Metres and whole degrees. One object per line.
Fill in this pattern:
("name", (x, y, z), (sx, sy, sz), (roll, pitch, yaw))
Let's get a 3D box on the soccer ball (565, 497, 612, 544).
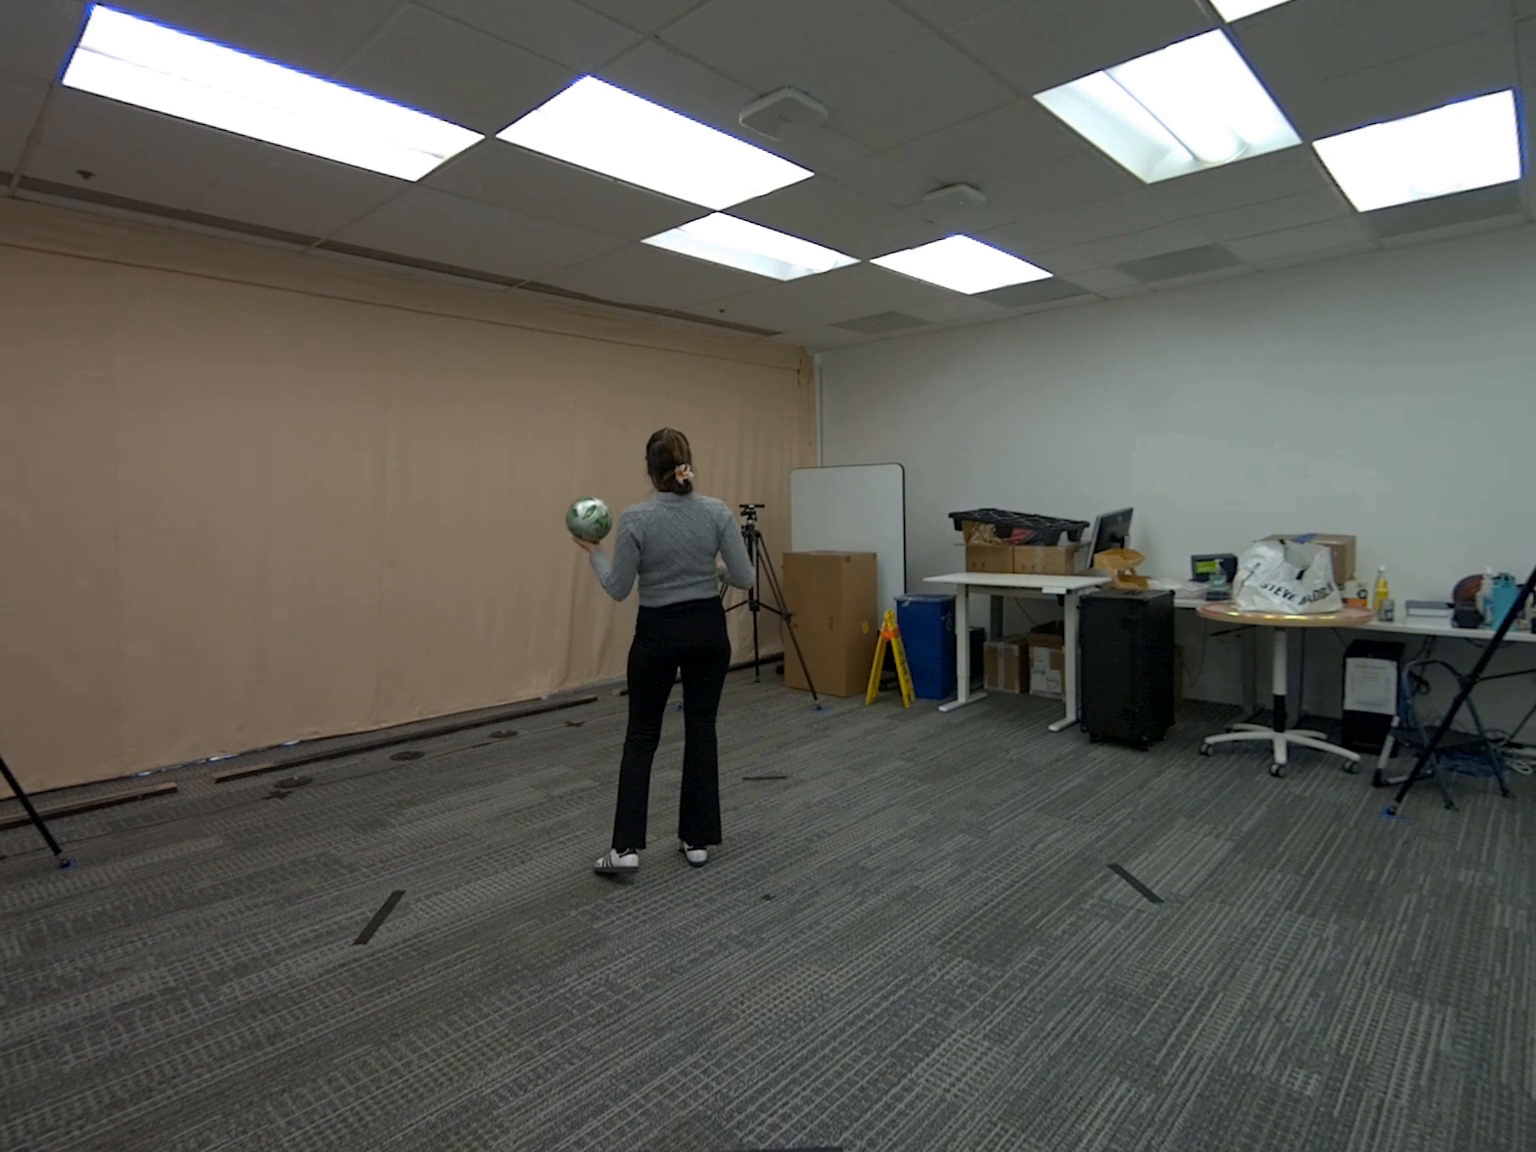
("soccer ball", (-0.706, -0.221, 3.408), (0.187, 0.187, 0.188), (-1, 4, -2))
